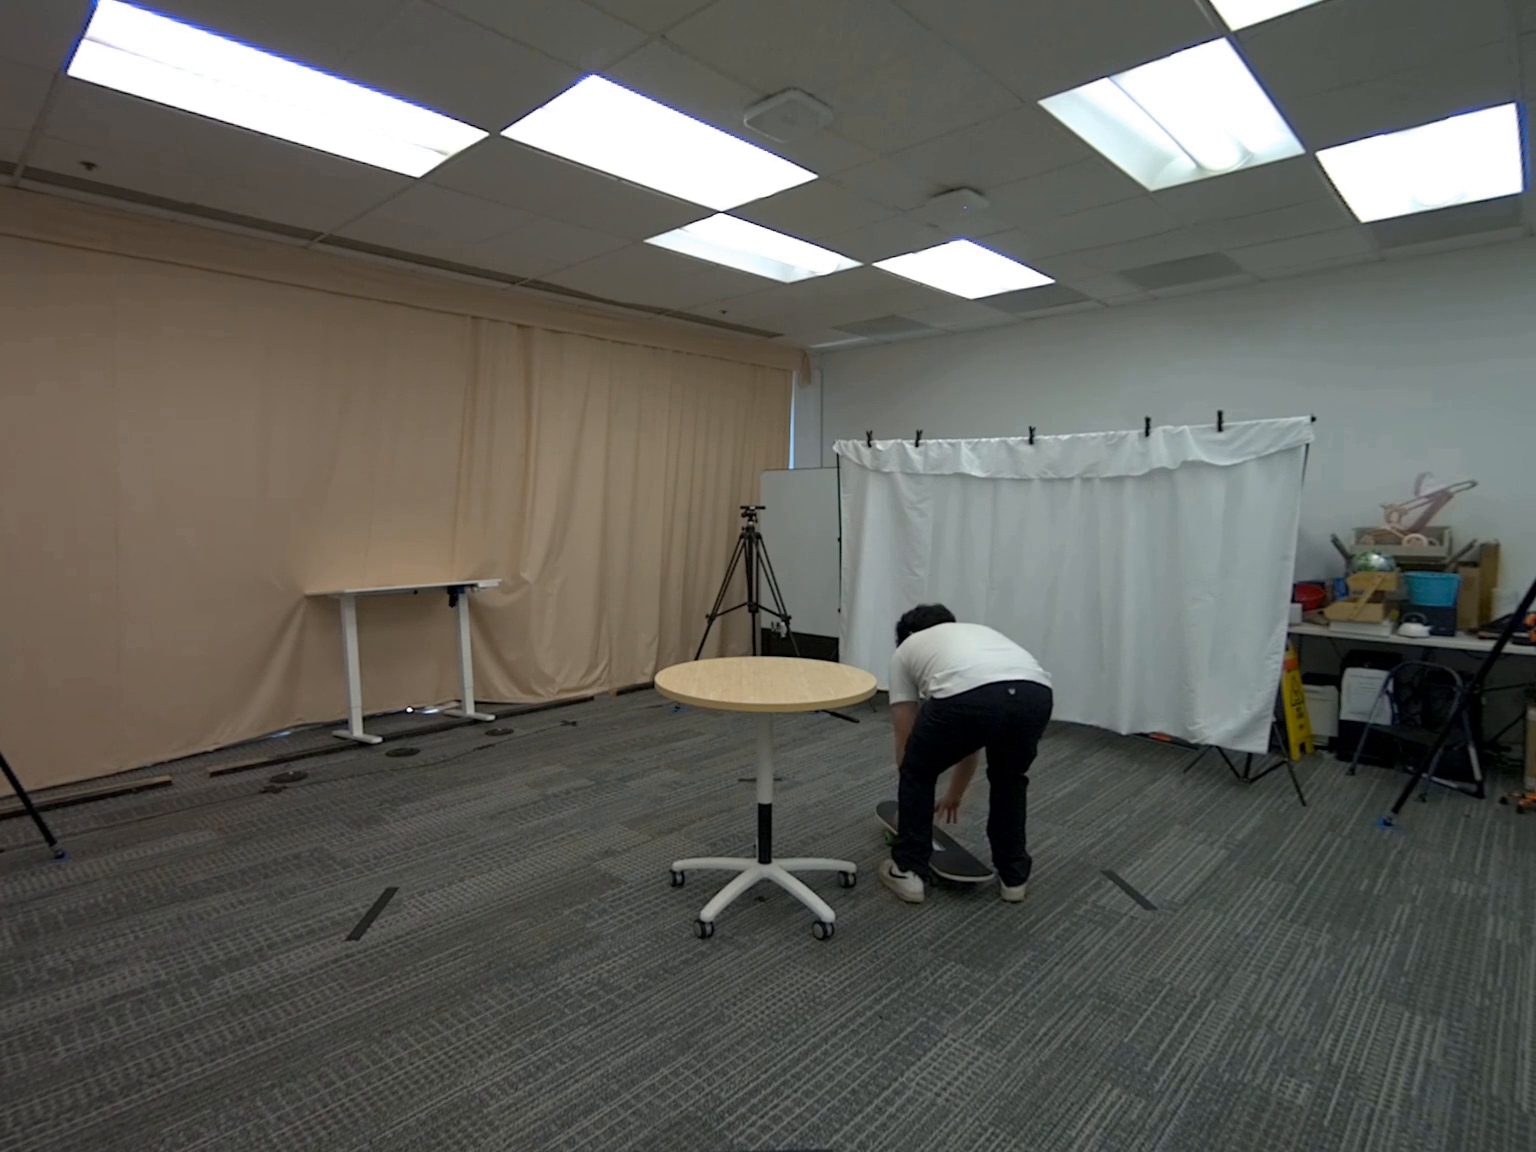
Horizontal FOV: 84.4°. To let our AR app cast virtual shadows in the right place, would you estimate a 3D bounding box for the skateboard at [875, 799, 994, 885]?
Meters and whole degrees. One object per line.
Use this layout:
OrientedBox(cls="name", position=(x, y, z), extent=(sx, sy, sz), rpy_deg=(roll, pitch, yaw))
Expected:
OrientedBox(cls="skateboard", position=(0.629, 1.060, 3.286), extent=(0.191, 0.110, 0.798), rpy_deg=(-2, 5, -14))
